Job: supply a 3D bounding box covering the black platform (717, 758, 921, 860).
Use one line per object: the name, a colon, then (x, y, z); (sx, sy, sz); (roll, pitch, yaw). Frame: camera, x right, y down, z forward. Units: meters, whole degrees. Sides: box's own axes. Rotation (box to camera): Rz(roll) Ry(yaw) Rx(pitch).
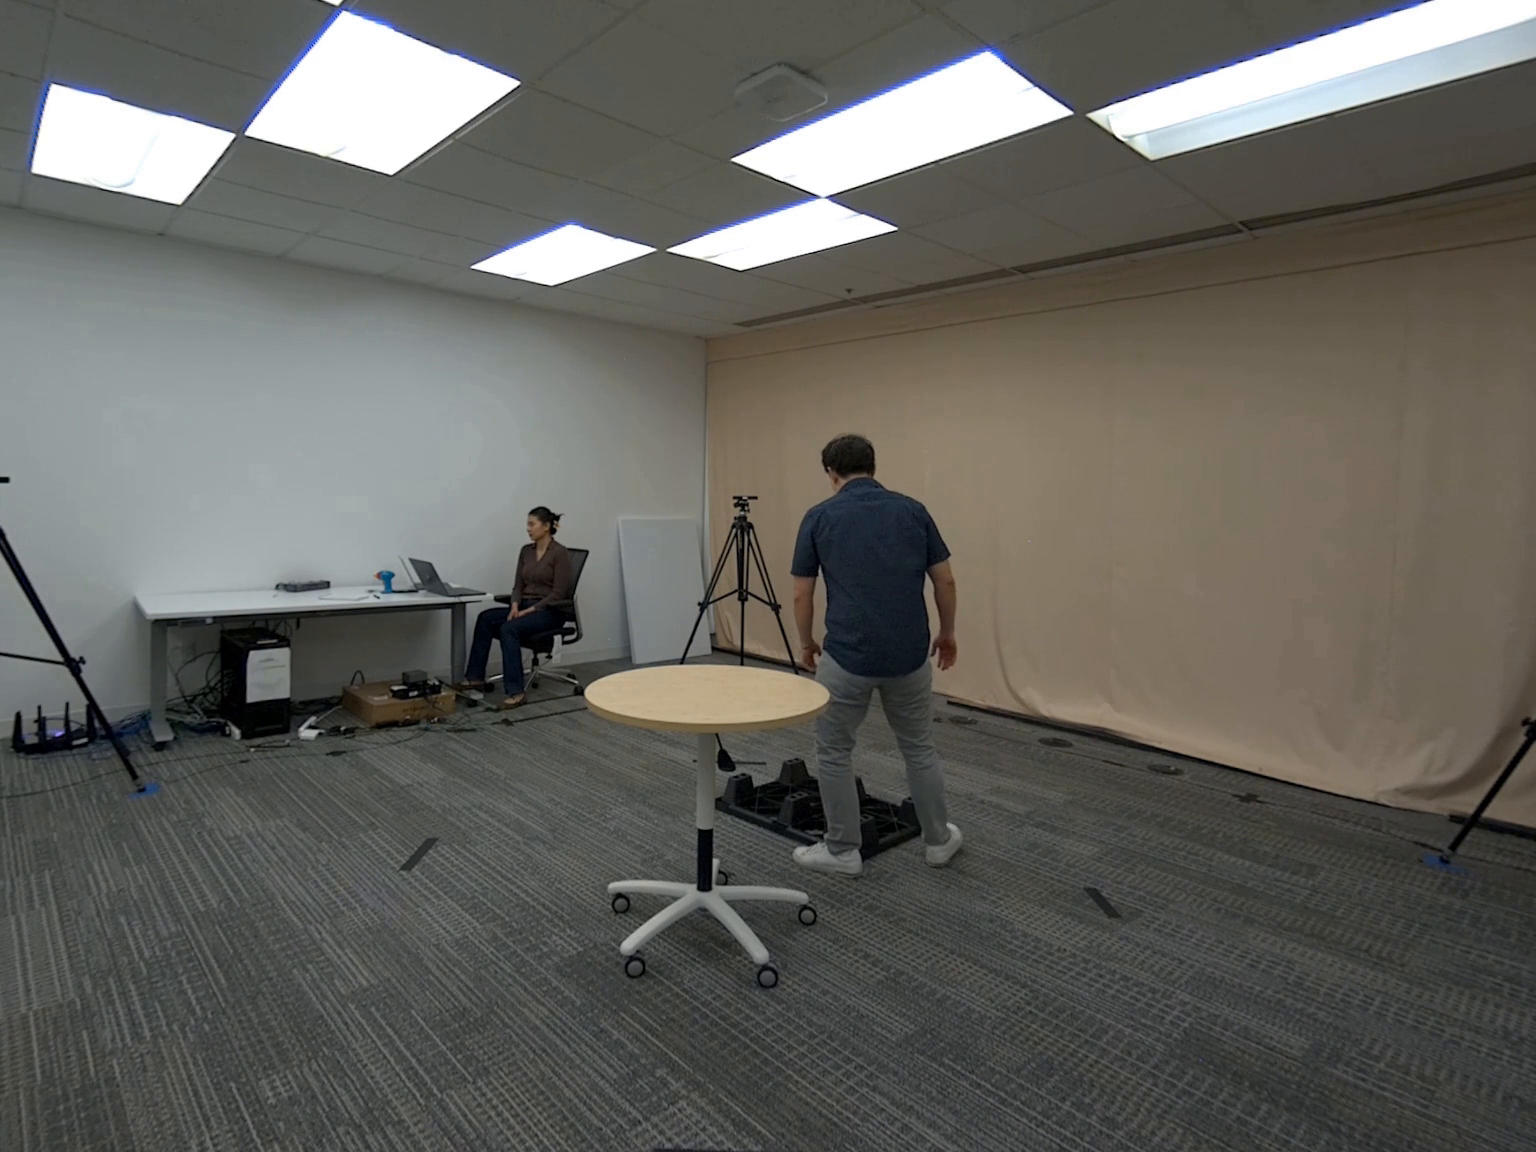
black platform: (0.244, 0.994, 3.703); (0.826, 0.143, 0.591); (7, 7, 43)
